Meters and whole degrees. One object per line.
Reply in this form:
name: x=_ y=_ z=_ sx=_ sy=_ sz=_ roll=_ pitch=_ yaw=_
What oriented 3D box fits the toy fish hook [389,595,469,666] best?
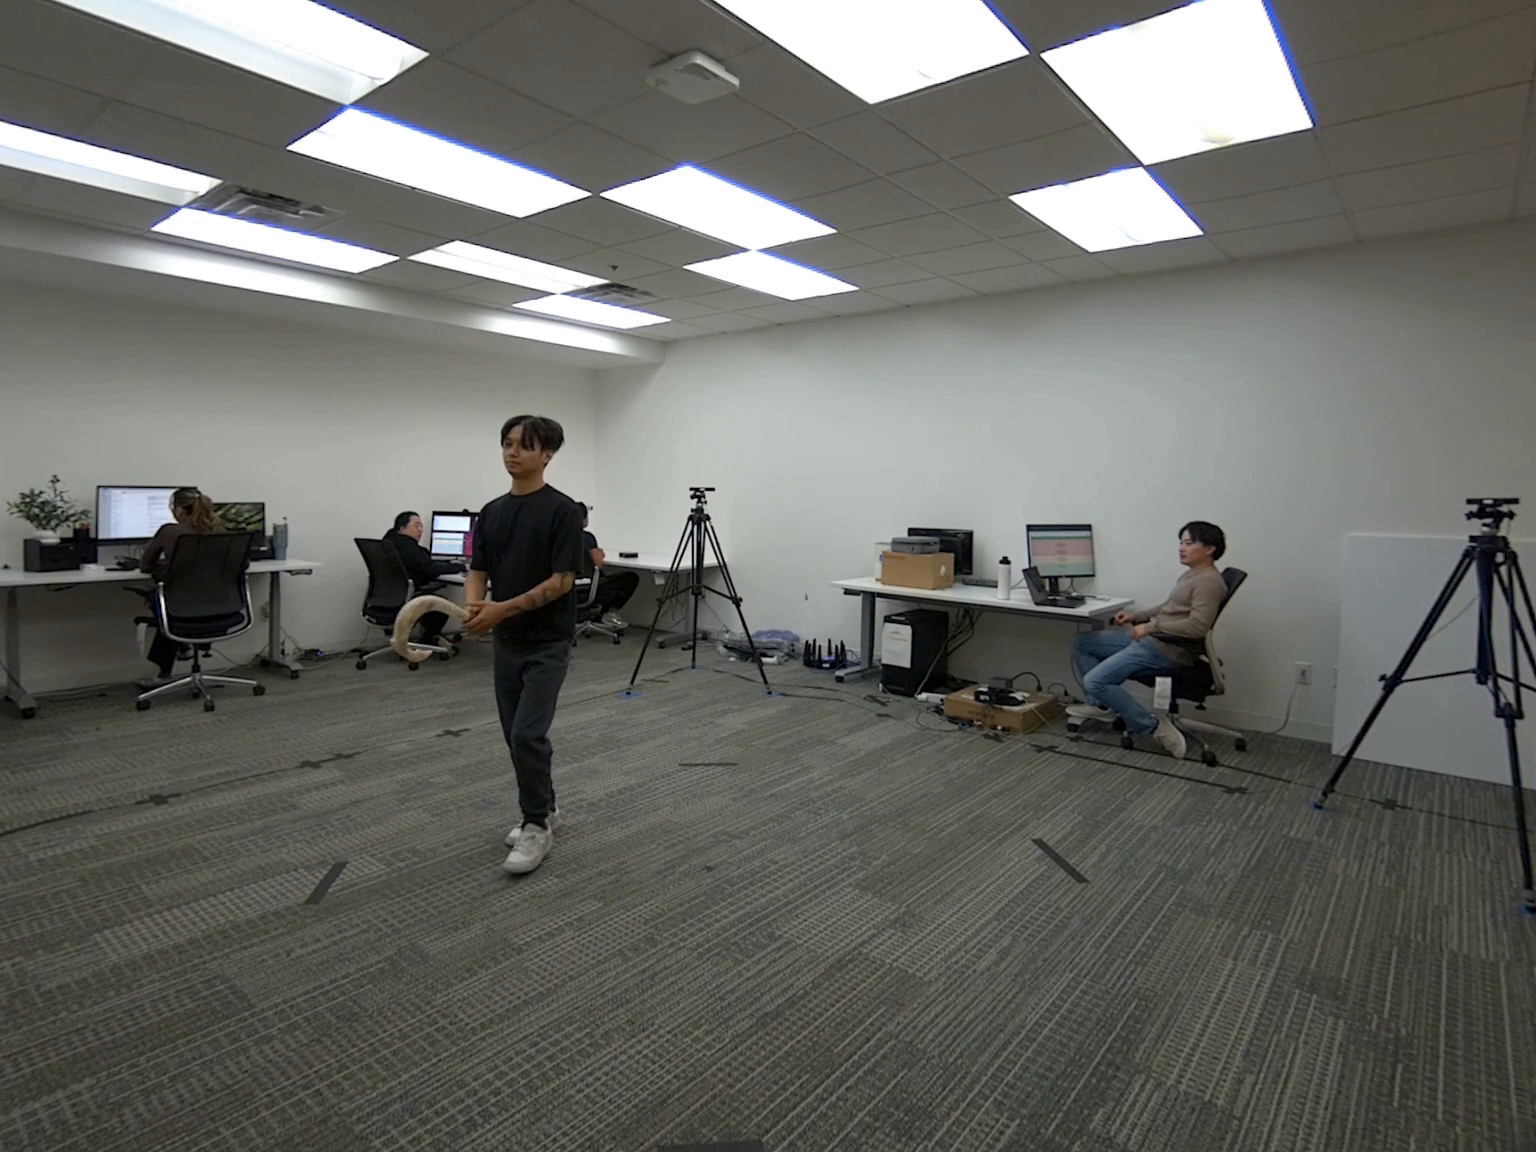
toy fish hook: x=-1.112 y=0.201 z=2.921 sx=0.050 sy=0.224 sz=0.493 roll=23 pitch=5 yaw=21
